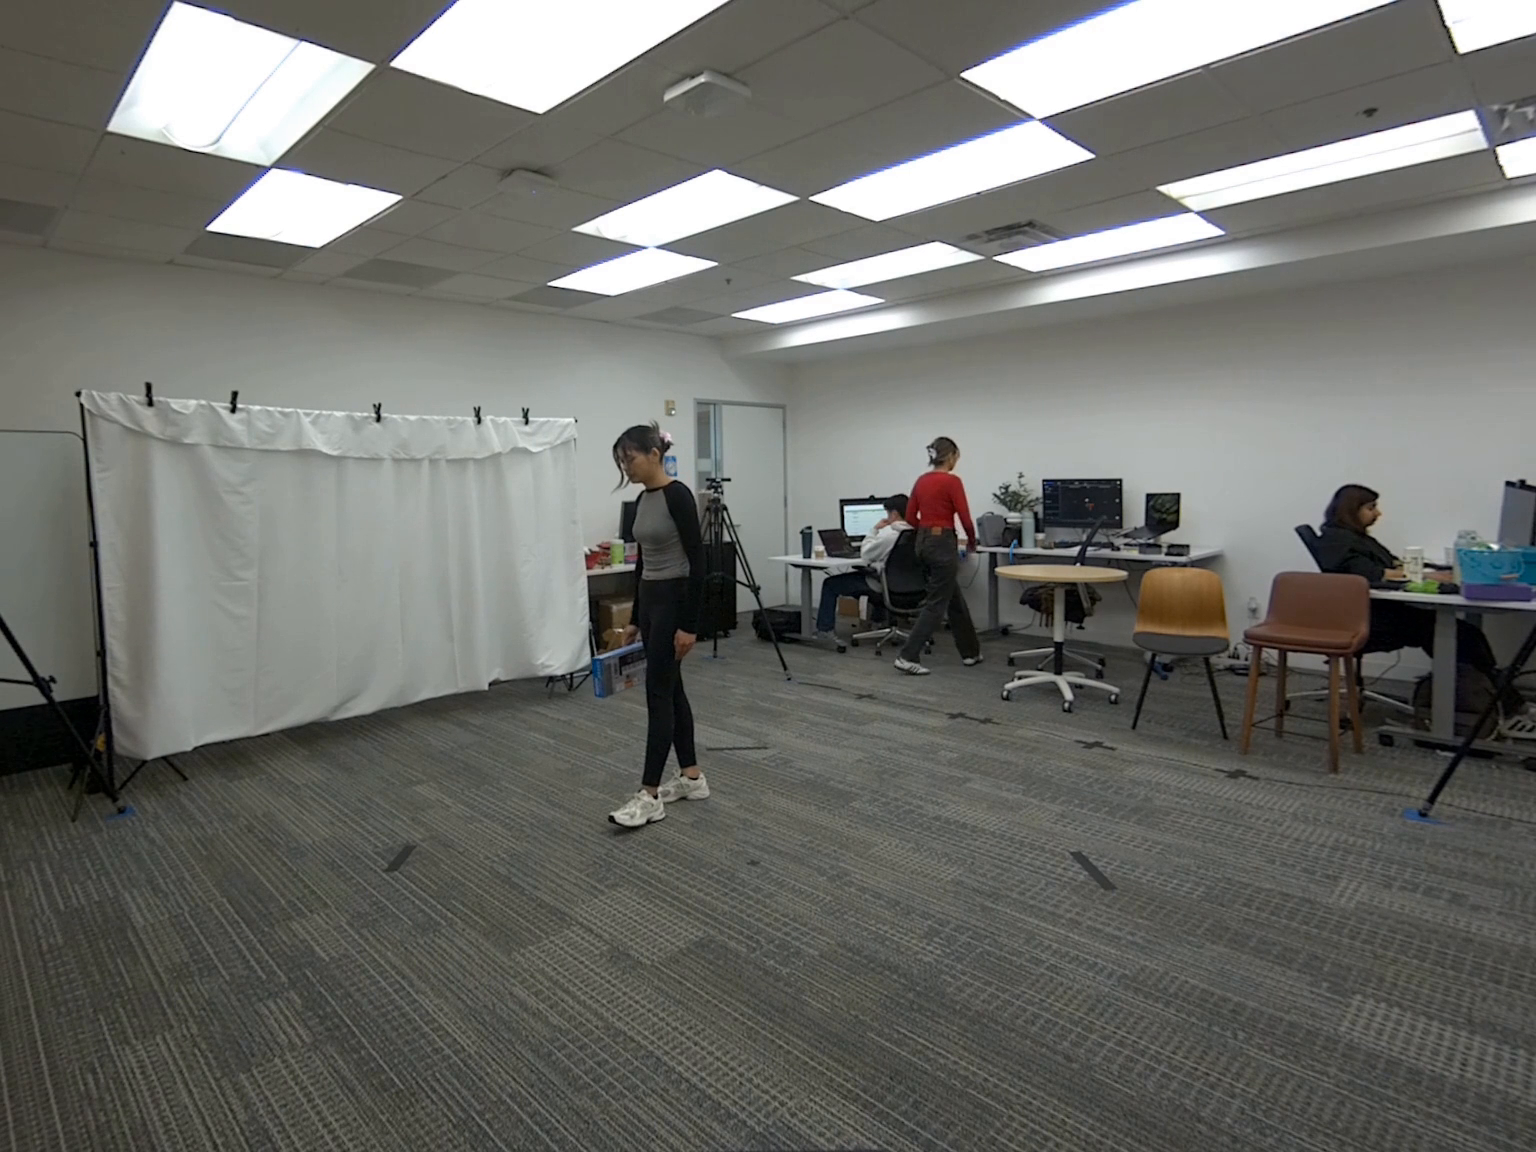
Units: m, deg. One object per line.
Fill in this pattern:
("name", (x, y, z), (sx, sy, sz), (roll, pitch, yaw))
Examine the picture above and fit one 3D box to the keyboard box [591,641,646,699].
("keyboard box", (-0.597, 0.400, 3.802), (0.061, 0.175, 0.427), (1, 9, 35))
